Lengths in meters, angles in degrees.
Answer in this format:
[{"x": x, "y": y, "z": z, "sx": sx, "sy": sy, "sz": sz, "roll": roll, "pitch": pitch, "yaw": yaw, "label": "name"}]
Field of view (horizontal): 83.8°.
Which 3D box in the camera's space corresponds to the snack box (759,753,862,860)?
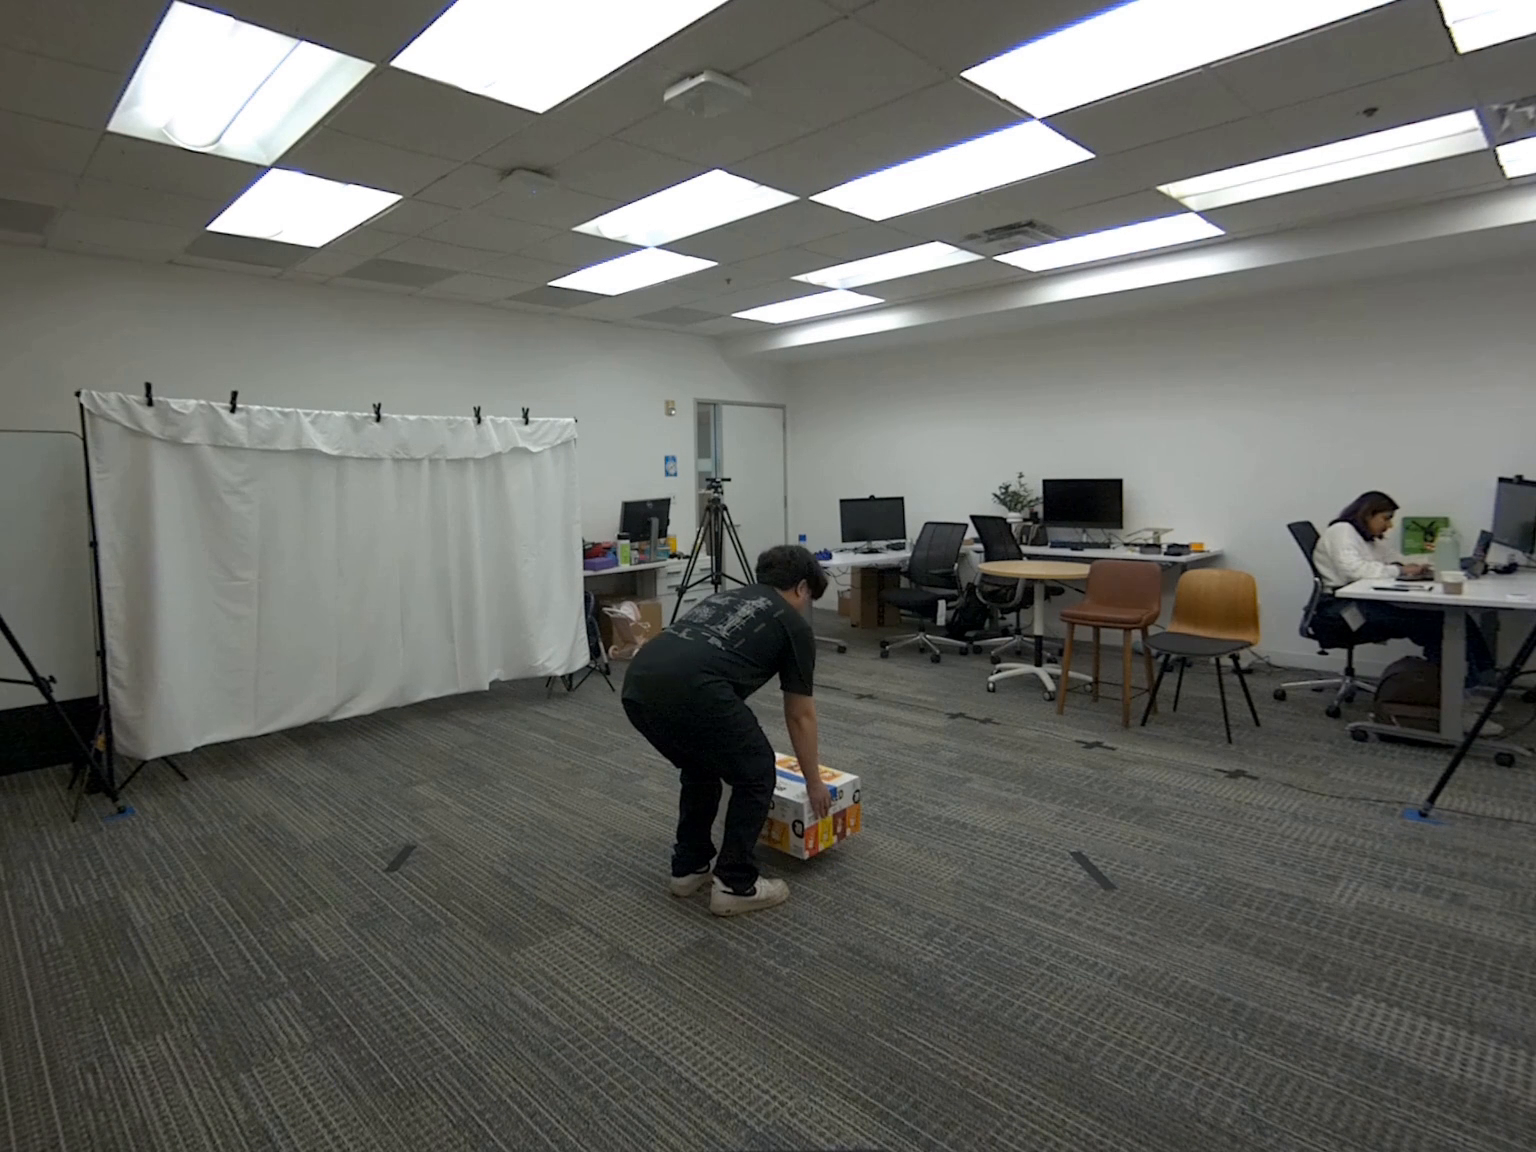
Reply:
[{"x": 0.080, "y": 0.832, "z": 3.178, "sx": 0.418, "sy": 0.204, "sz": 0.332, "roll": 6, "pitch": 9, "yaw": 41, "label": "snack box"}]
